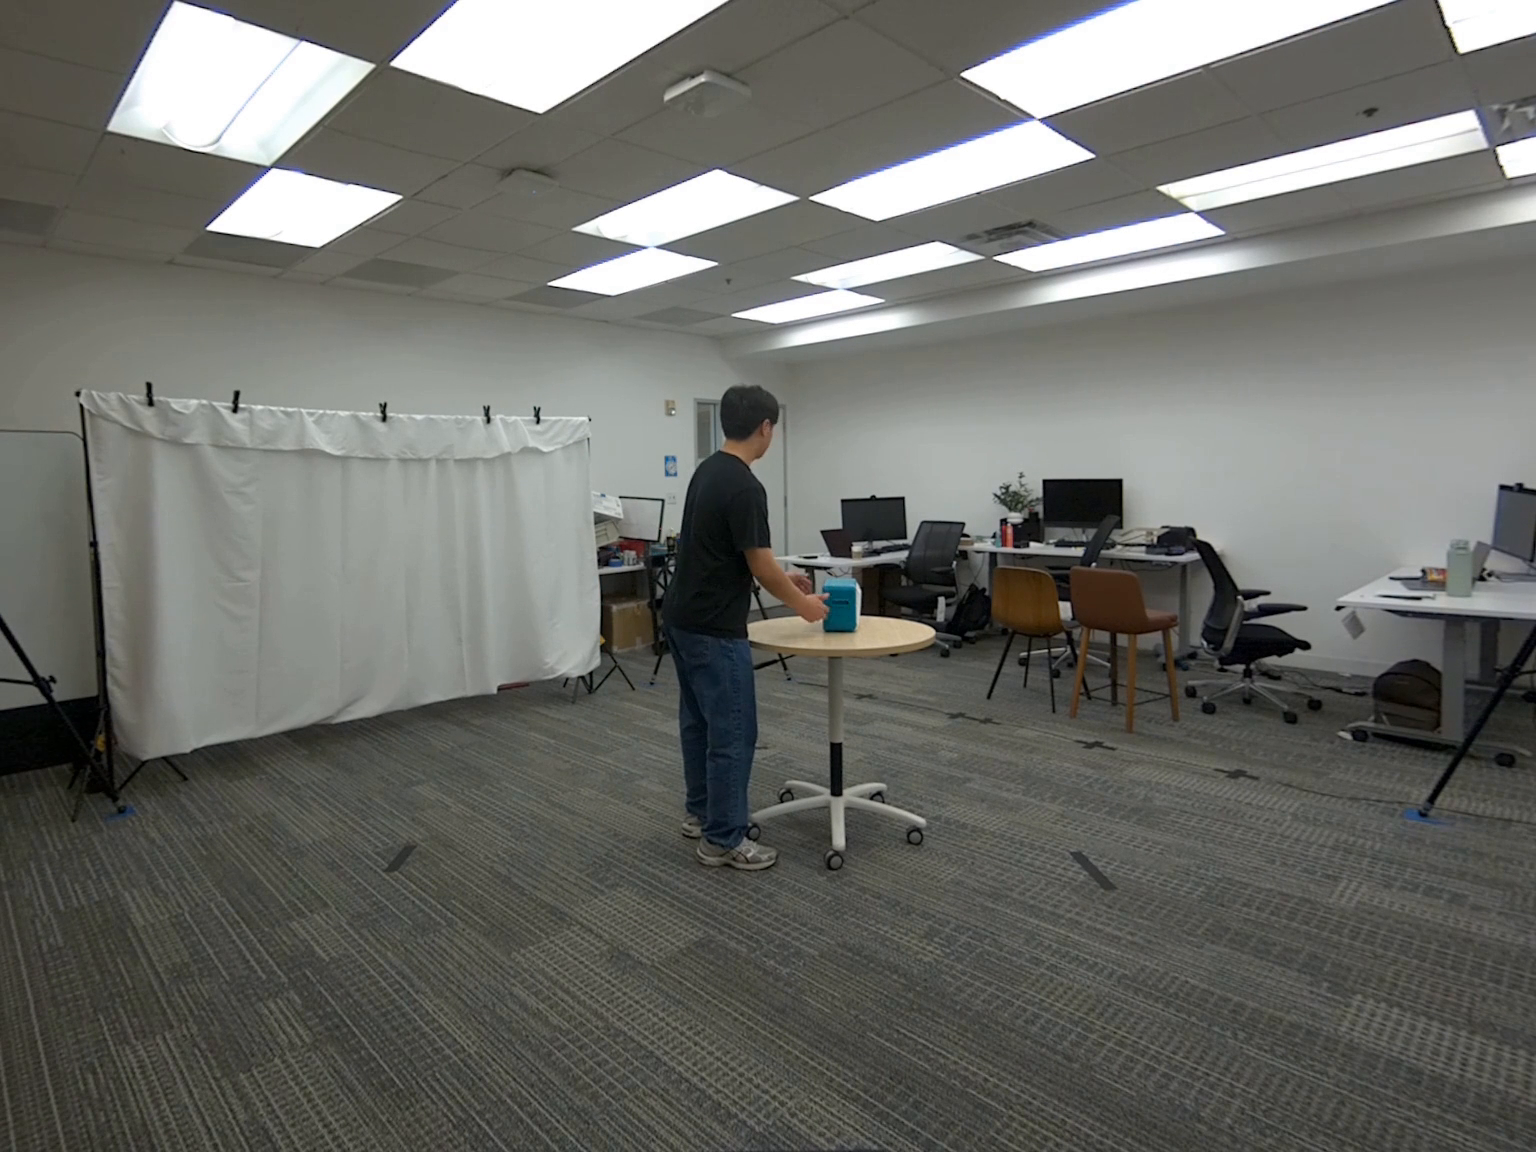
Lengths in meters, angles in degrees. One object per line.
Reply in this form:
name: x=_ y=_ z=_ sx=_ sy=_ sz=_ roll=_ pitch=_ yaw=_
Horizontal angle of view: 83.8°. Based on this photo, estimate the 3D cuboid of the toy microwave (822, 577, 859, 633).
toy microwave: x=0.298 y=0.110 z=3.413 sx=0.153 sy=0.183 sz=0.286 roll=1 pitch=6 yaw=5
